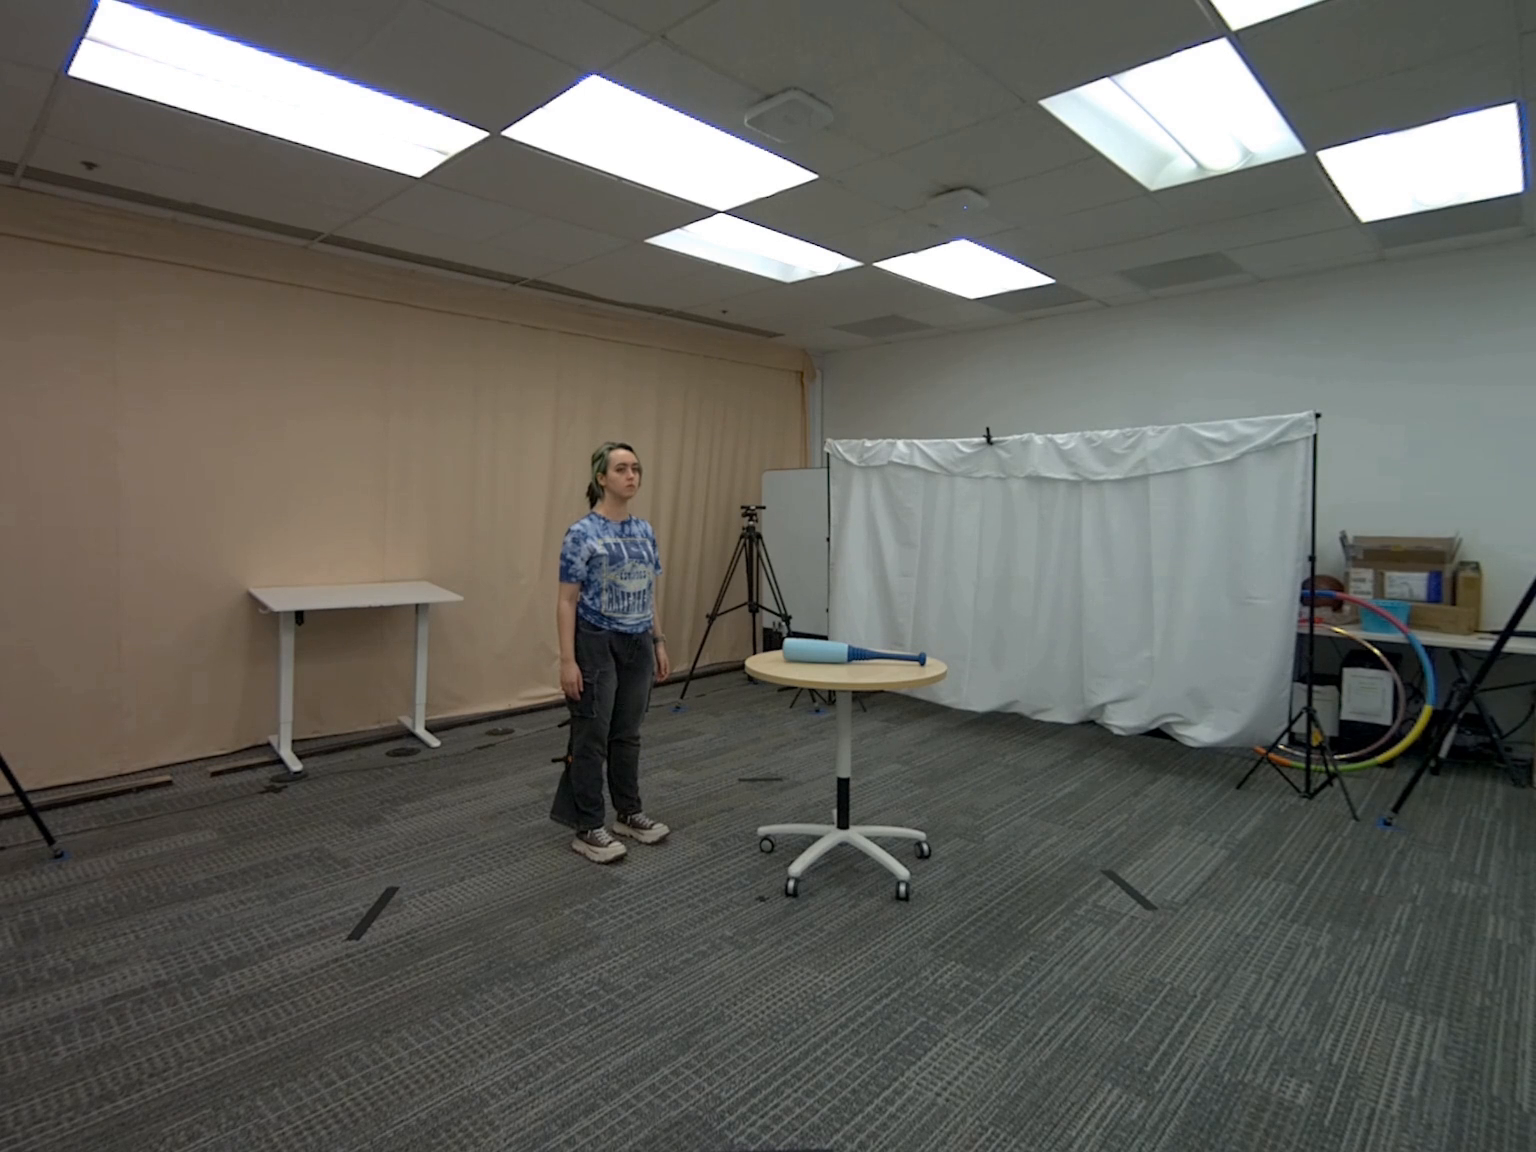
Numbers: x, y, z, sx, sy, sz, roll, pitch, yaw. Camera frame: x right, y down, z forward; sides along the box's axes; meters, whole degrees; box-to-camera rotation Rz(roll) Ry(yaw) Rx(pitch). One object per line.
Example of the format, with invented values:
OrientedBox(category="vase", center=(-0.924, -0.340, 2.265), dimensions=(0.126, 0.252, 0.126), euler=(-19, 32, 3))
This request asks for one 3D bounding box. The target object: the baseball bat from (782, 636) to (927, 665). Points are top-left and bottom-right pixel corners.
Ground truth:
OrientedBox(category="baseball bat", center=(0.334, 0.301, 3.228), dimensions=(0.548, 0.089, 0.088), euler=(3, 4, 7))
